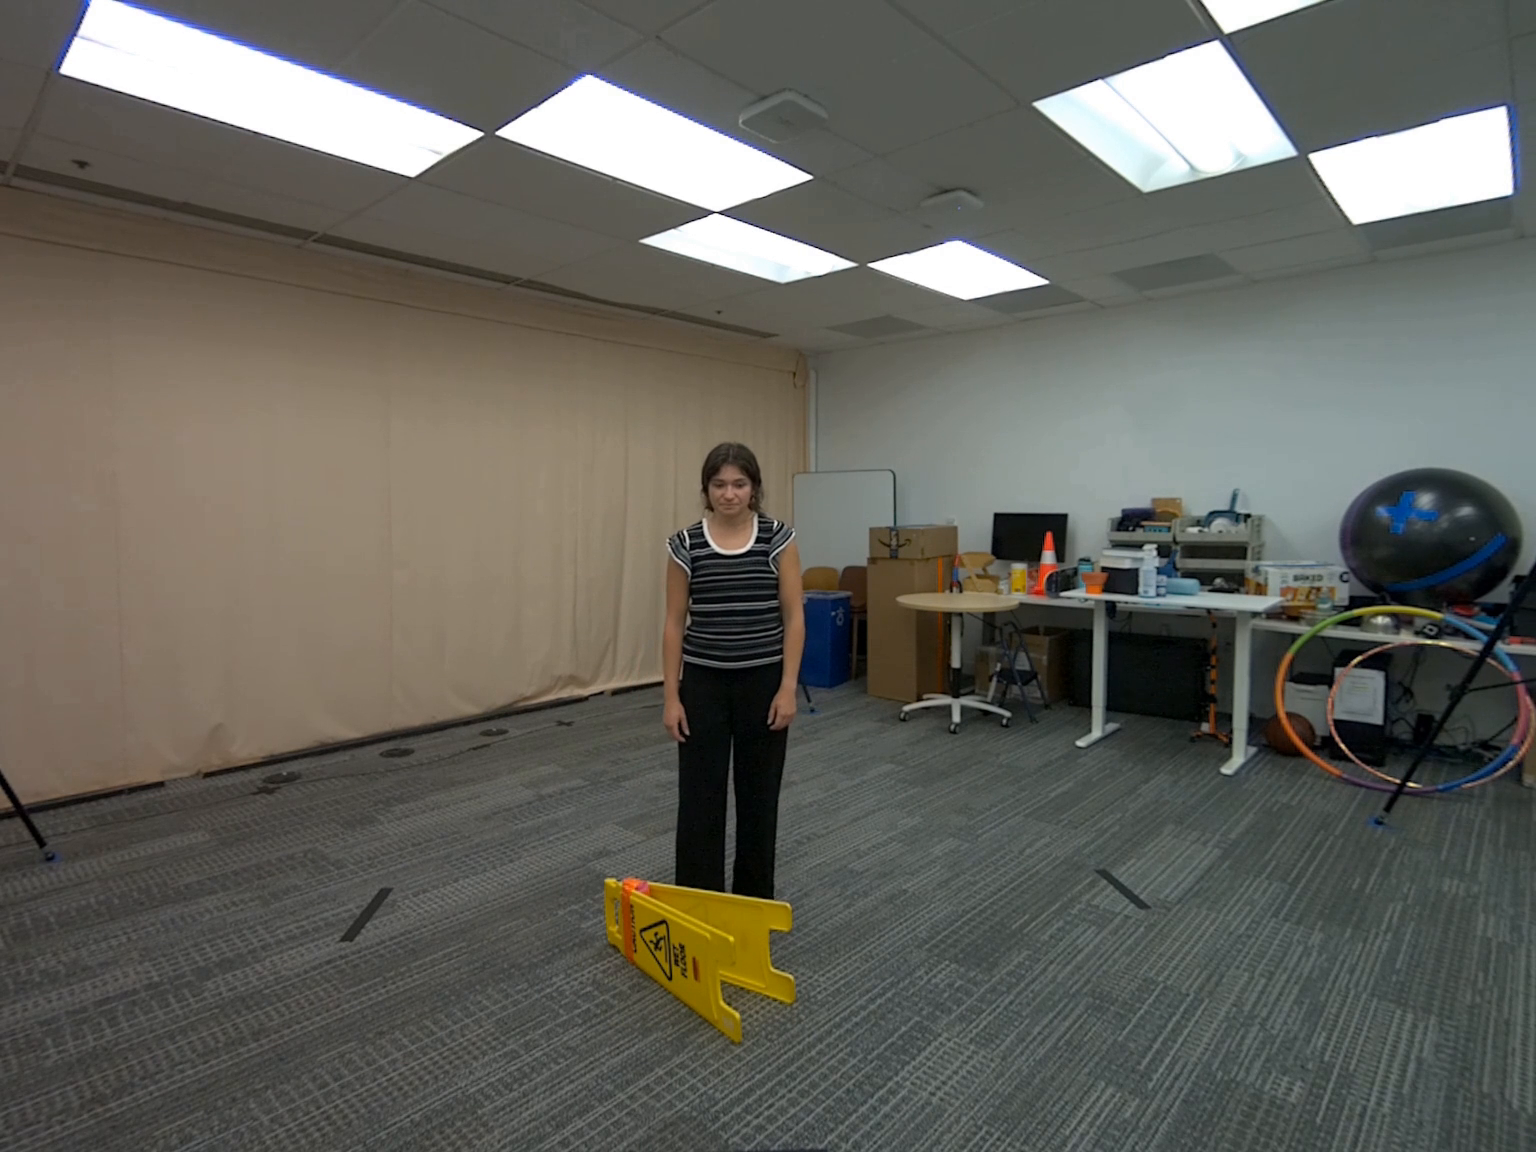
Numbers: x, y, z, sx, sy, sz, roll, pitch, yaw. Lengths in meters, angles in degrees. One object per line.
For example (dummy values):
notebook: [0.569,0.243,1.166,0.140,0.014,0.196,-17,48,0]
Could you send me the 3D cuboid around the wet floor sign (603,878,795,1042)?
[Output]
wet floor sign: [-0.263,1.066,2.469,0.666,0.282,0.281,0,4,39]
